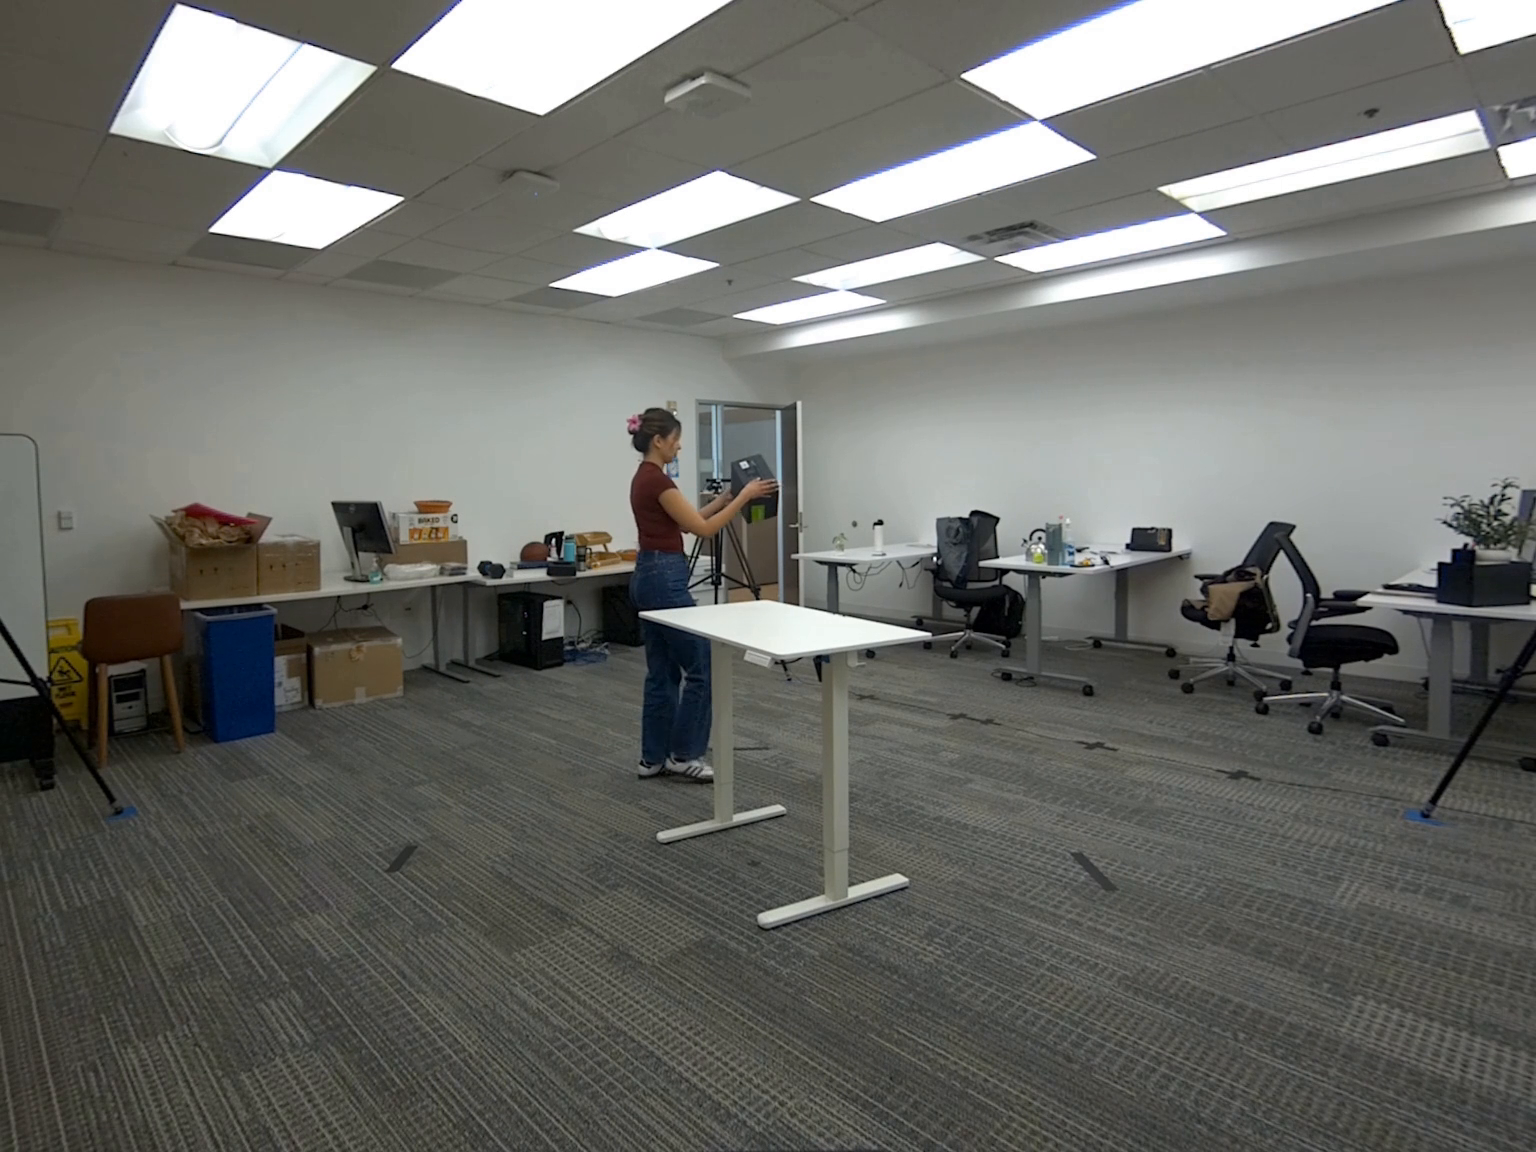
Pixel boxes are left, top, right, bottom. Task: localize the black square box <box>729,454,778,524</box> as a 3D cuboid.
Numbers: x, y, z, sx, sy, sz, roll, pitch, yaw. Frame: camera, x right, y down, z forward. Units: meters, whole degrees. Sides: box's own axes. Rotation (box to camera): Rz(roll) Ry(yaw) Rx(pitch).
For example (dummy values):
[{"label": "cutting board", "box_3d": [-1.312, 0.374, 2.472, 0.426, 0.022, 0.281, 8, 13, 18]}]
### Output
[{"label": "black square box", "box_3d": [-0.069, -0.408, 4.055, 0.154, 0.225, 0.222, -17, -36, -15]}]
